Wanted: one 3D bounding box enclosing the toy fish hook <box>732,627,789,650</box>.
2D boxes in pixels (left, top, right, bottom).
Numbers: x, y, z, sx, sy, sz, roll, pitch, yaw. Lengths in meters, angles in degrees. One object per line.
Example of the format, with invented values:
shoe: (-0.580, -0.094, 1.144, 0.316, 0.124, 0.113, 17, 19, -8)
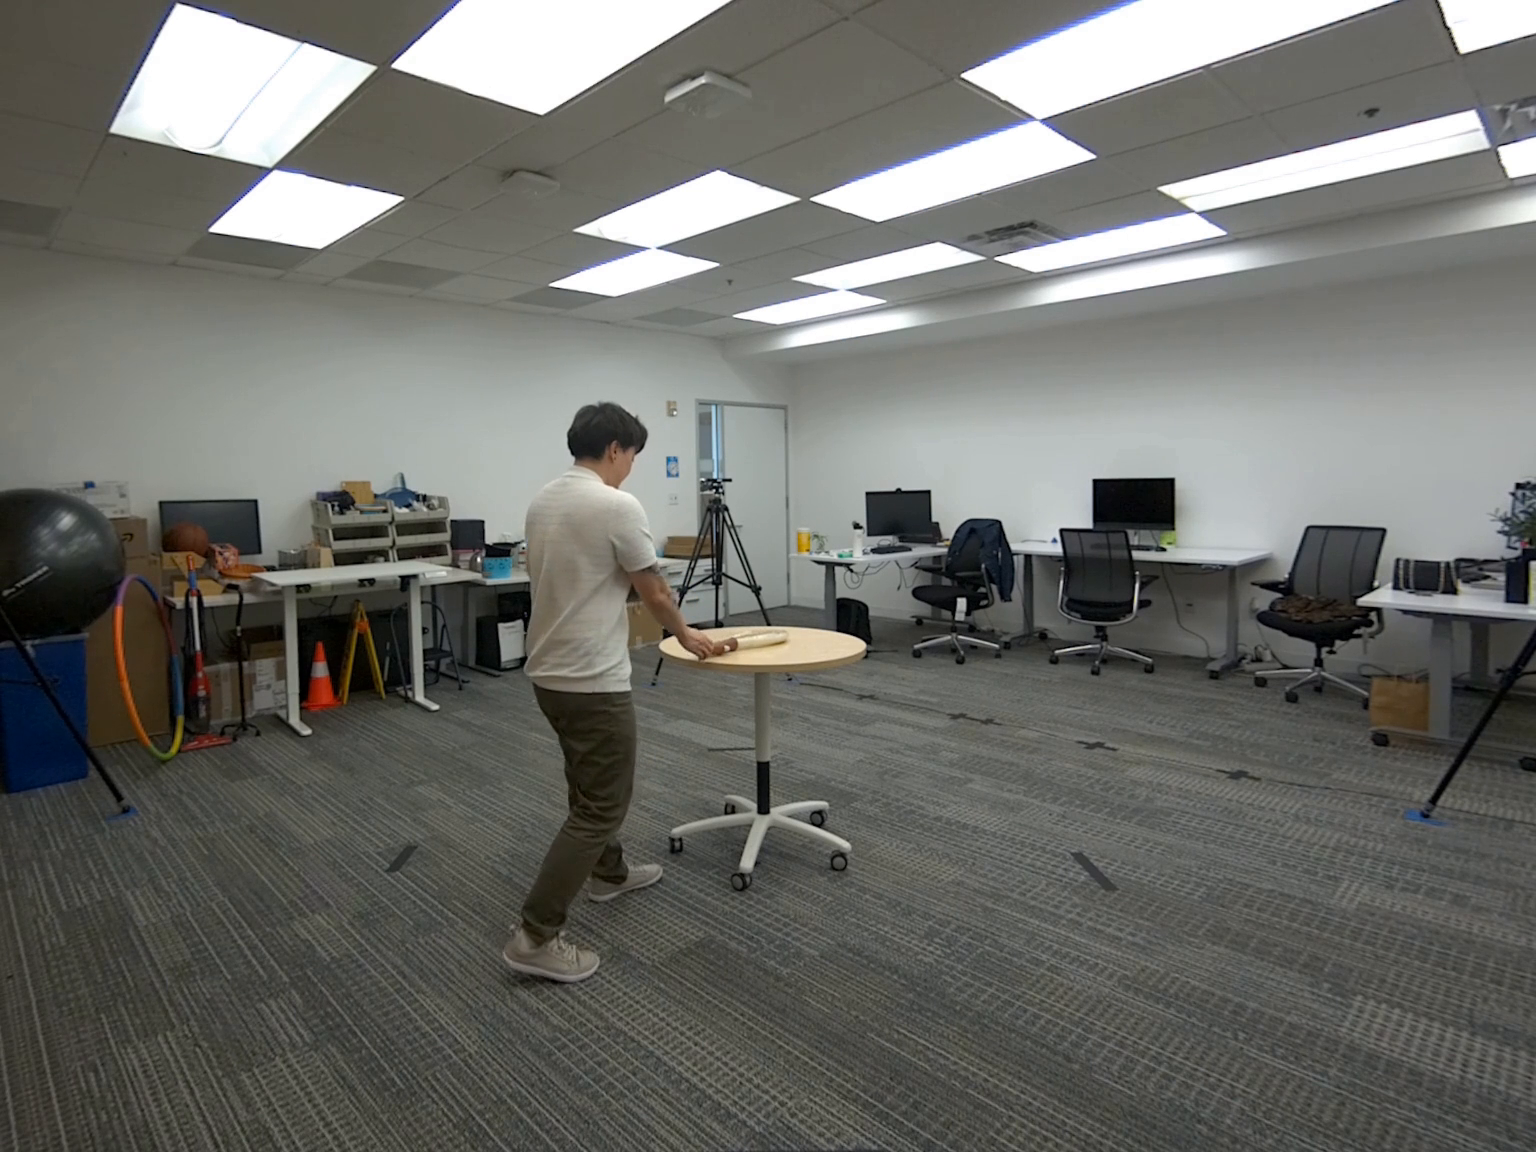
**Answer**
toy fish hook: (-0.123, 0.249, 3.120, 0.230, 0.048, 0.493, -6, 0, 38)
